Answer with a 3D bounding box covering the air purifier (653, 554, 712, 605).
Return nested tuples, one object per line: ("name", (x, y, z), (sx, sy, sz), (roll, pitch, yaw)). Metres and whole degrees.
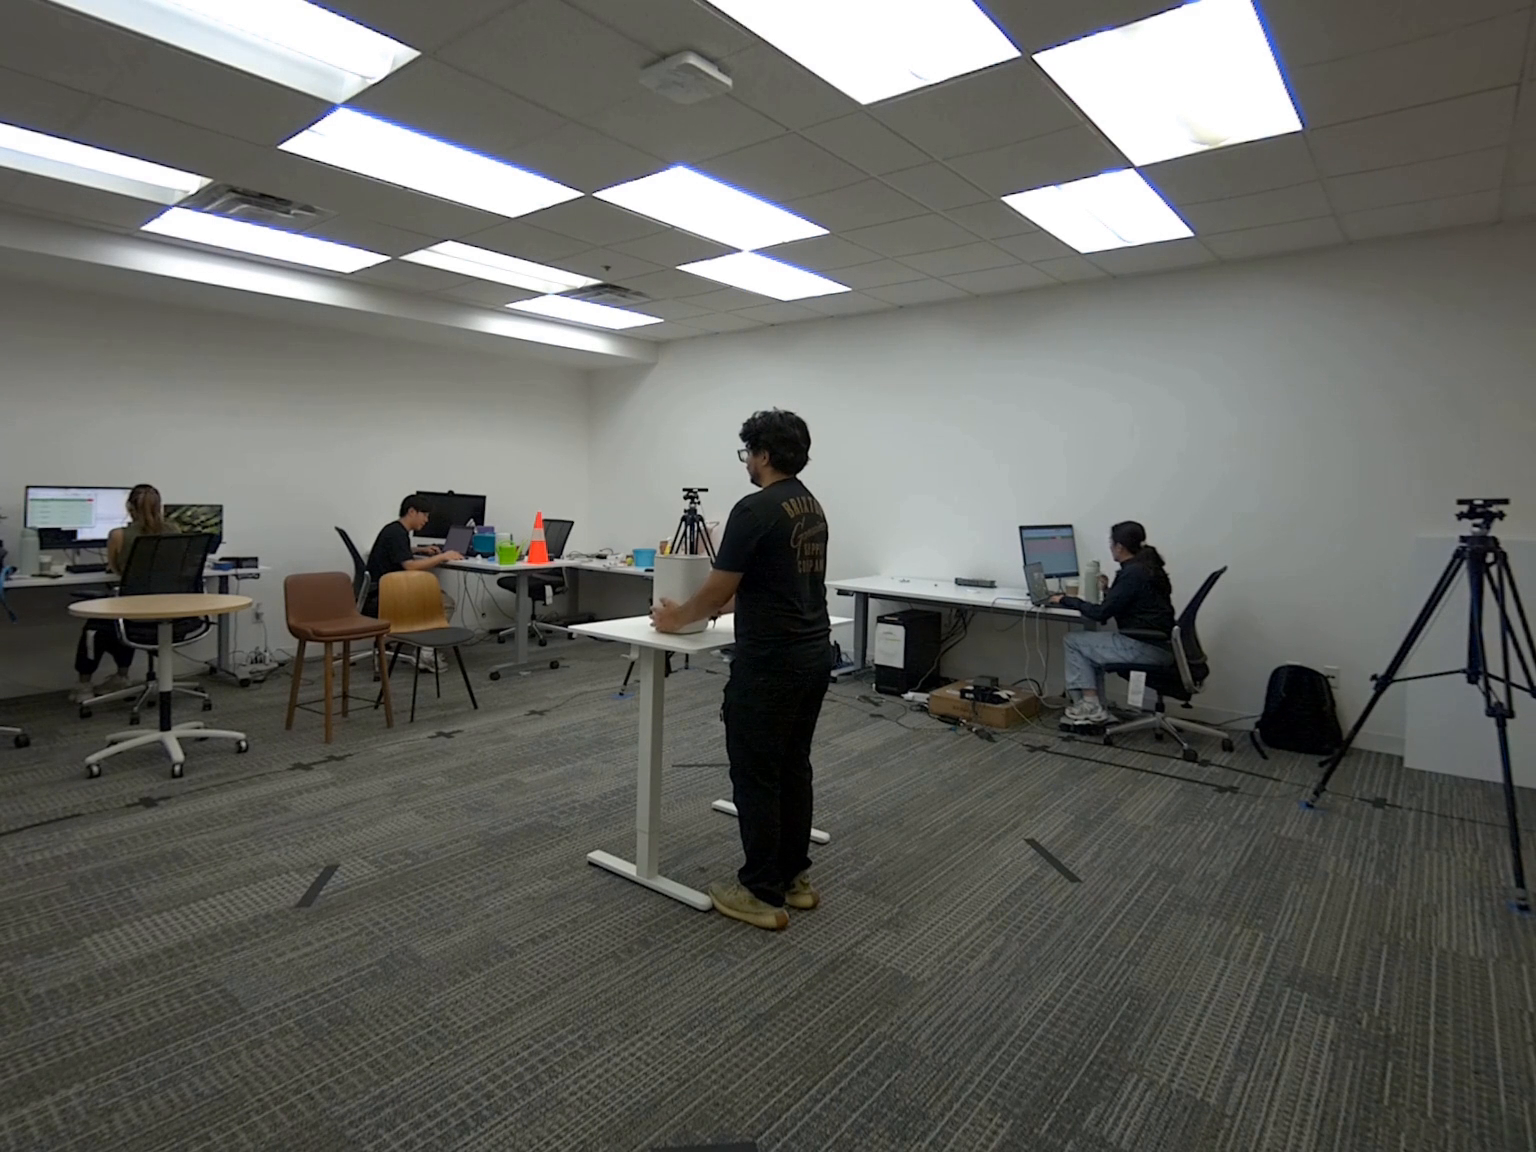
("air purifier", (-0.319, 0.058, 3.006), (0.176, 0.264, 0.167), (5, 5, 34))
